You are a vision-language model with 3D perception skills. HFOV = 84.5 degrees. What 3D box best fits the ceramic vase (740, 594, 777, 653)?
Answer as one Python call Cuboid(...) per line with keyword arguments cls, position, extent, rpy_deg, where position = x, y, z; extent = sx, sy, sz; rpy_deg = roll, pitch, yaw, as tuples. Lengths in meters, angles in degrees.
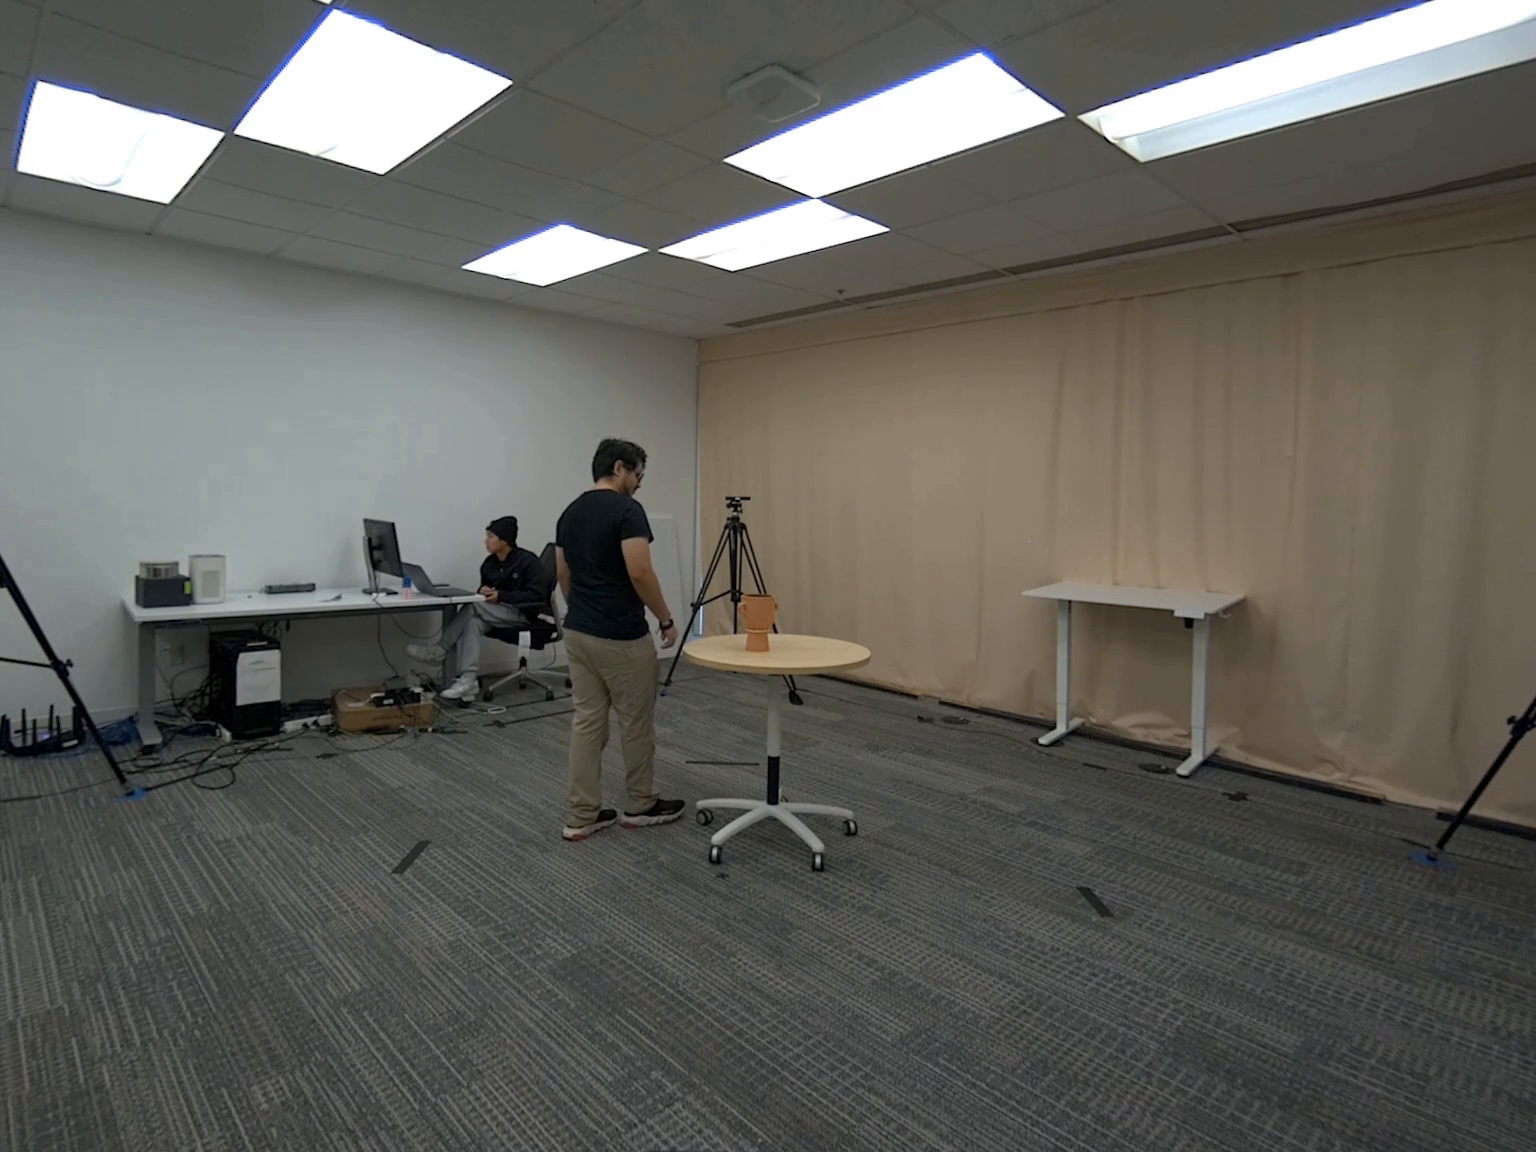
Cuboid(cls="ceramic vase", position=(-0.049, 0.192, 3.417), extent=(0.159, 0.219, 0.134), rpy_deg=(1, 2, 1))
